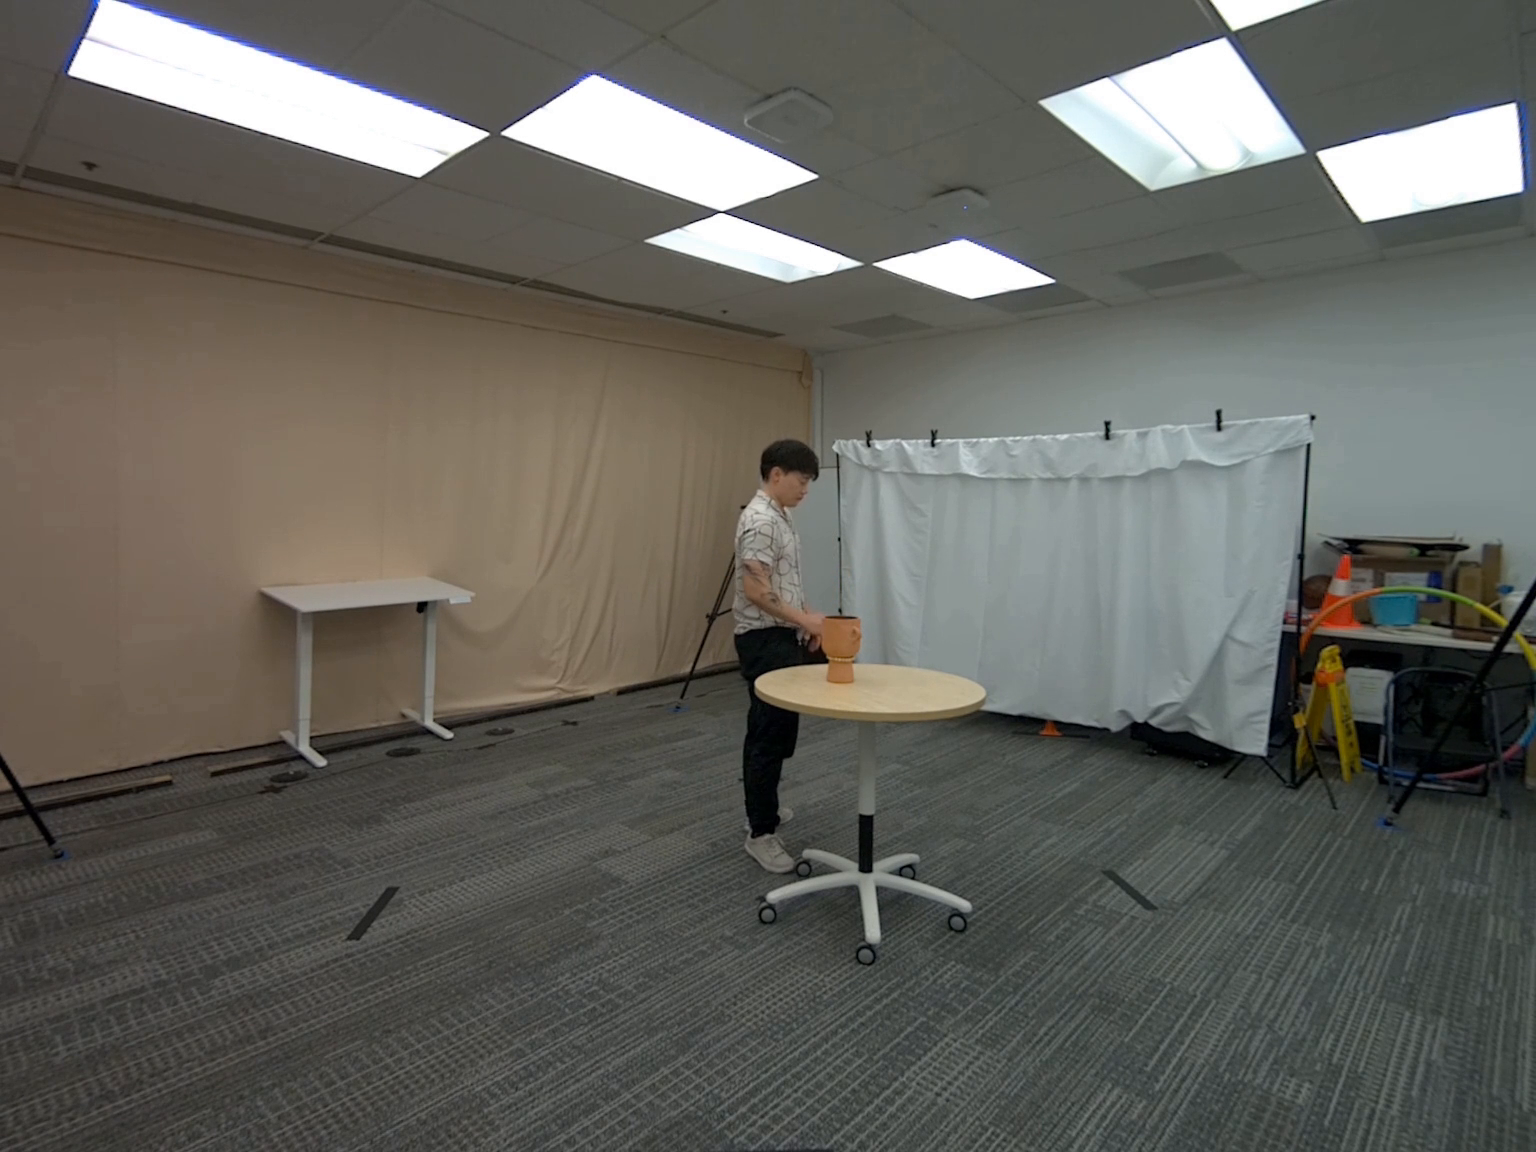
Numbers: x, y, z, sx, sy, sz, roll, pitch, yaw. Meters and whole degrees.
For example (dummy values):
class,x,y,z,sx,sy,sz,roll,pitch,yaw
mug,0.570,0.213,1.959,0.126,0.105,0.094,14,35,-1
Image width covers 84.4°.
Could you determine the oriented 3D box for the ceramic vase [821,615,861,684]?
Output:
class,x,y,z,sx,sy,sz,roll,pitch,yaw
ceramic vase,0.258,0.255,2.917,0.136,0.219,0.158,1,3,6
